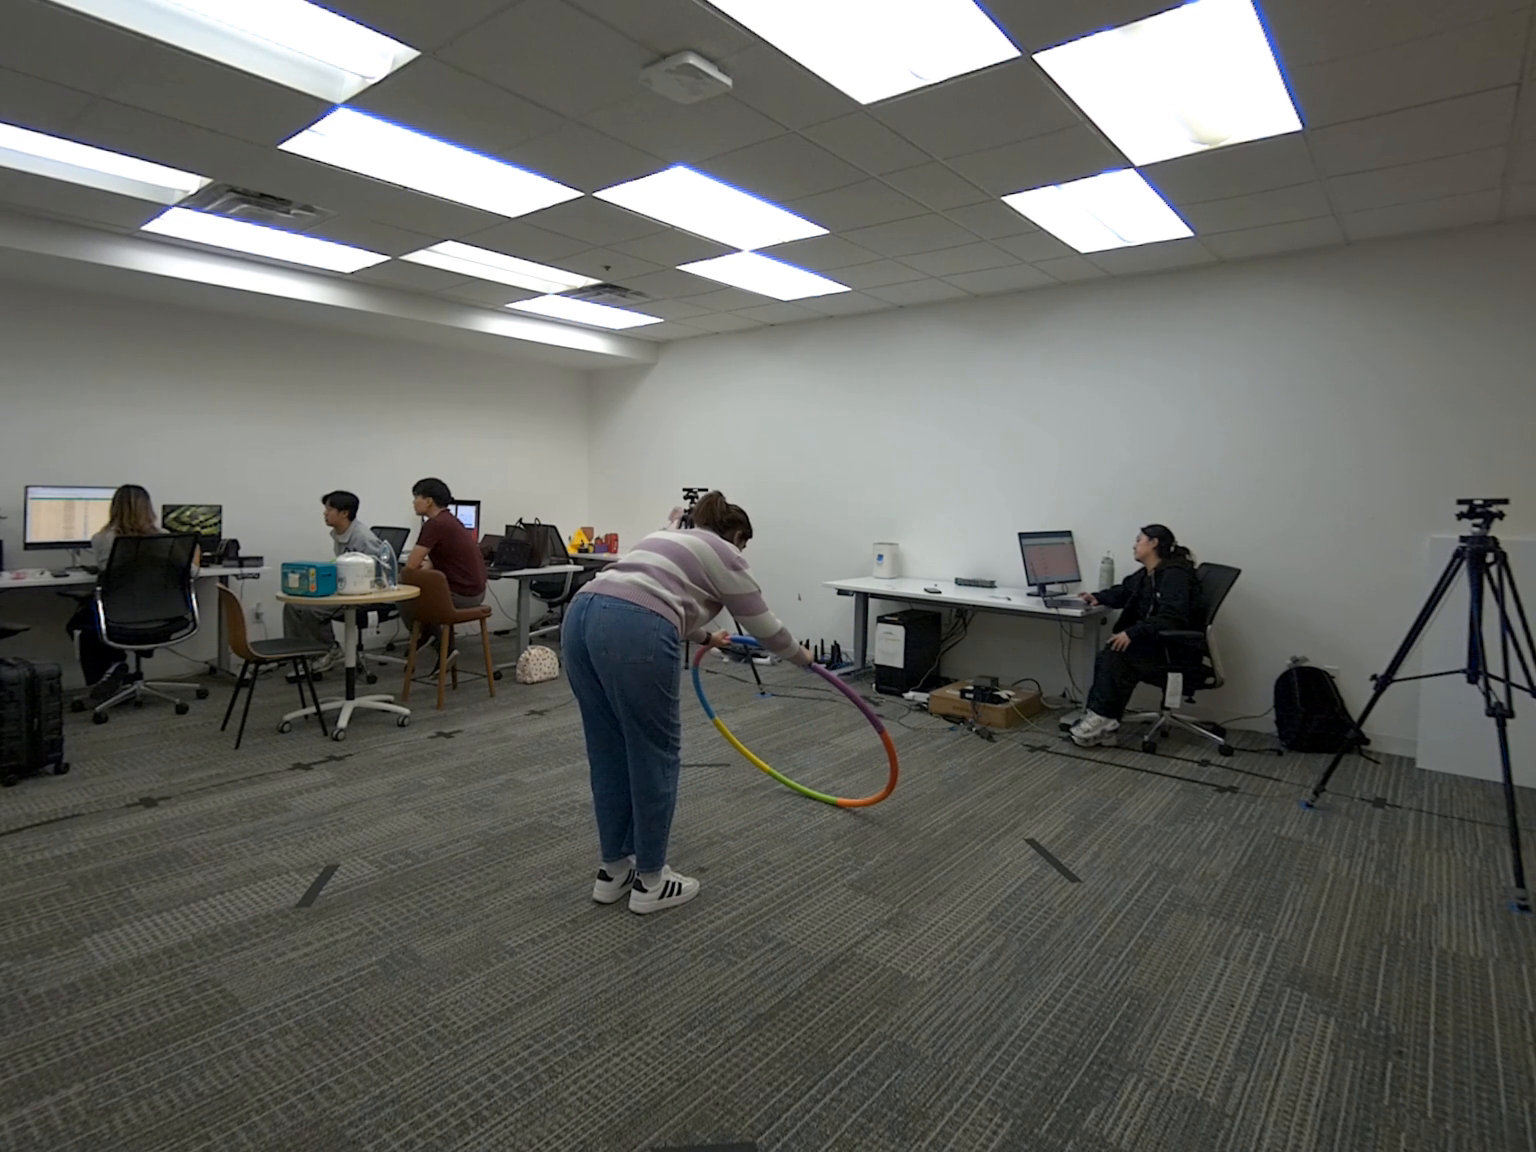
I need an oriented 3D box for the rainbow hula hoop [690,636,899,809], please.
[{"bbox_3d":[0.076,0.620,3.604,1.012,0.946,0.035,5,41,40],"label":"rainbow hula hoop"}]
